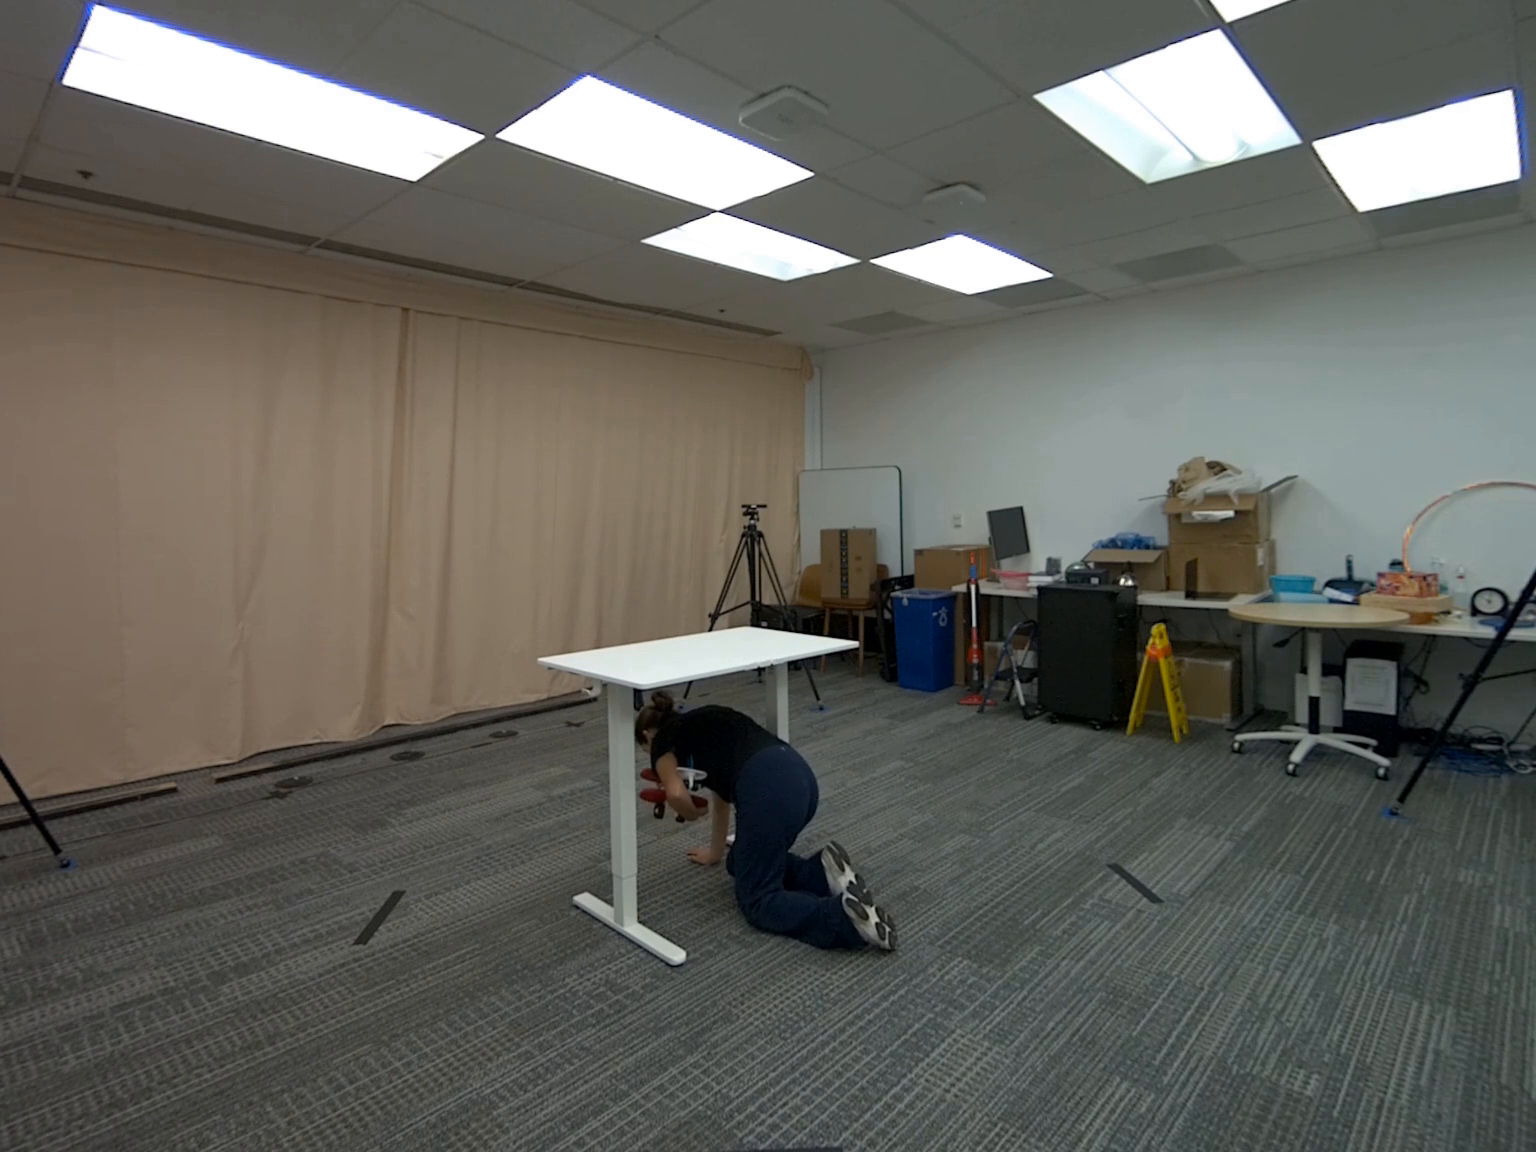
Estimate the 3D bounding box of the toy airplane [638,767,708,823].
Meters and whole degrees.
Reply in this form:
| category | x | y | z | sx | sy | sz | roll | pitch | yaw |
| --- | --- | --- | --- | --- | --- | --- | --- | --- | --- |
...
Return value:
| category | x | y | z | sx | sy | sz | roll | pitch | yaw |
| --- | --- | --- | --- | --- | --- | --- | --- | --- | --- |
| toy airplane | -0.307 | 0.755 | 3.015 | 0.261 | 0.243 | 0.160 | -34 | 36 | 16 |
